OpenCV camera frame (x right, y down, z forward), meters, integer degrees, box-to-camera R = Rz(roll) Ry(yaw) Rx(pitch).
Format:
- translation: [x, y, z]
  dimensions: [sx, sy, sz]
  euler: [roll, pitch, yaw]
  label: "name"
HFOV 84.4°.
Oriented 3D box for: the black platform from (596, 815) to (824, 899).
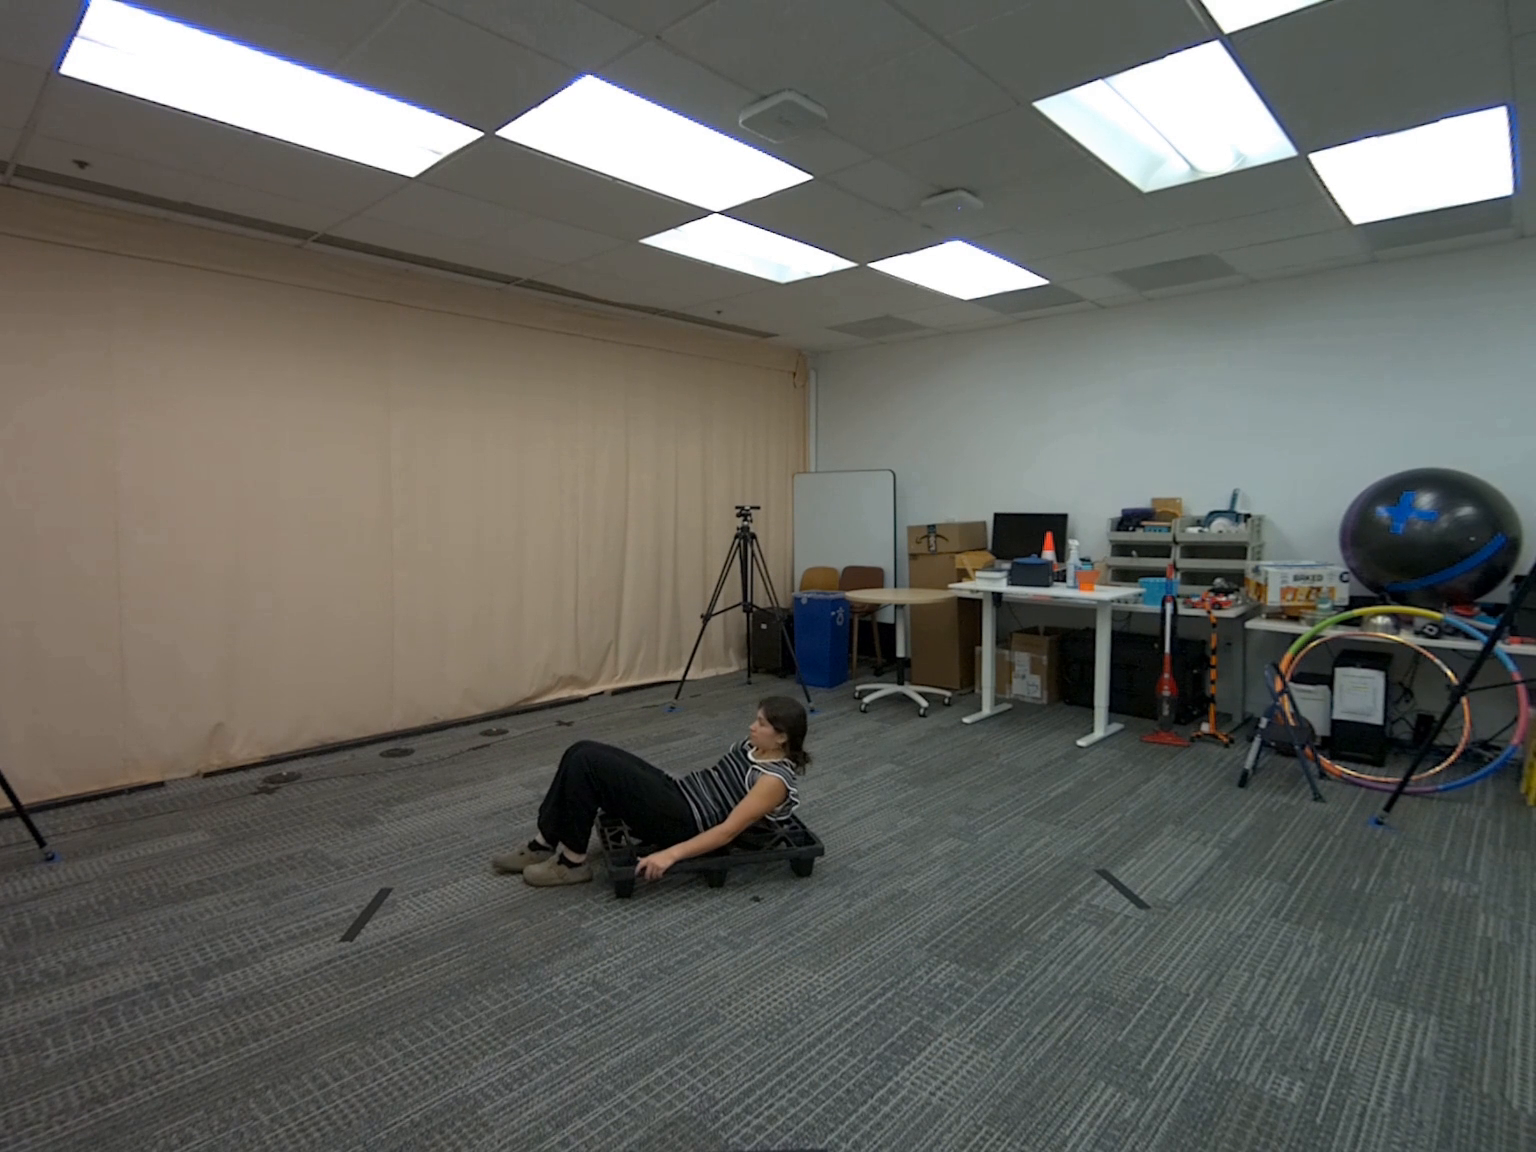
- translation: [-0.252, 1.051, 3.294]
  dimensions: [0.794, 0.143, 0.615]
  euler: [-2, 4, -14]
  label: "black platform"
